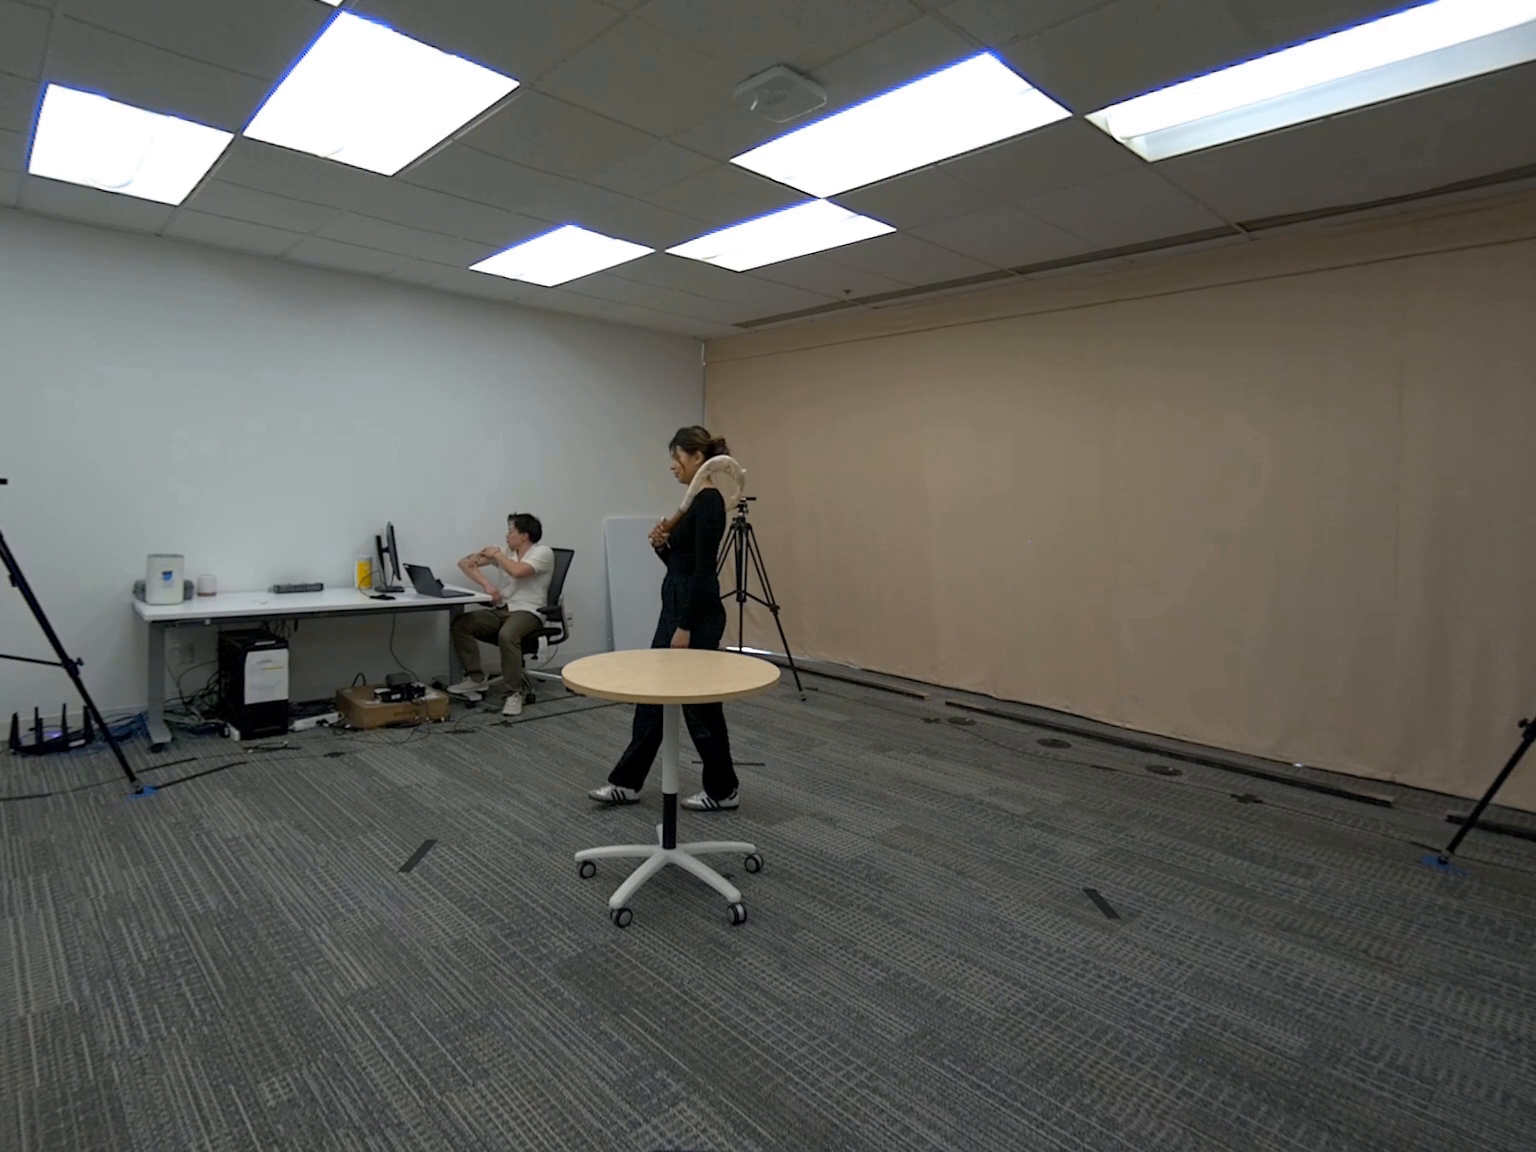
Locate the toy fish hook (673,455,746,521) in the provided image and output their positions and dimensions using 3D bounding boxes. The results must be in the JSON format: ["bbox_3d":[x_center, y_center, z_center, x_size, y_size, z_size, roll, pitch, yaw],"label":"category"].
[{"bbox_3d":[-0.314,-0.293,3.620,0.222,0.506,0.049,43,6,-8],"label":"toy fish hook"}]
